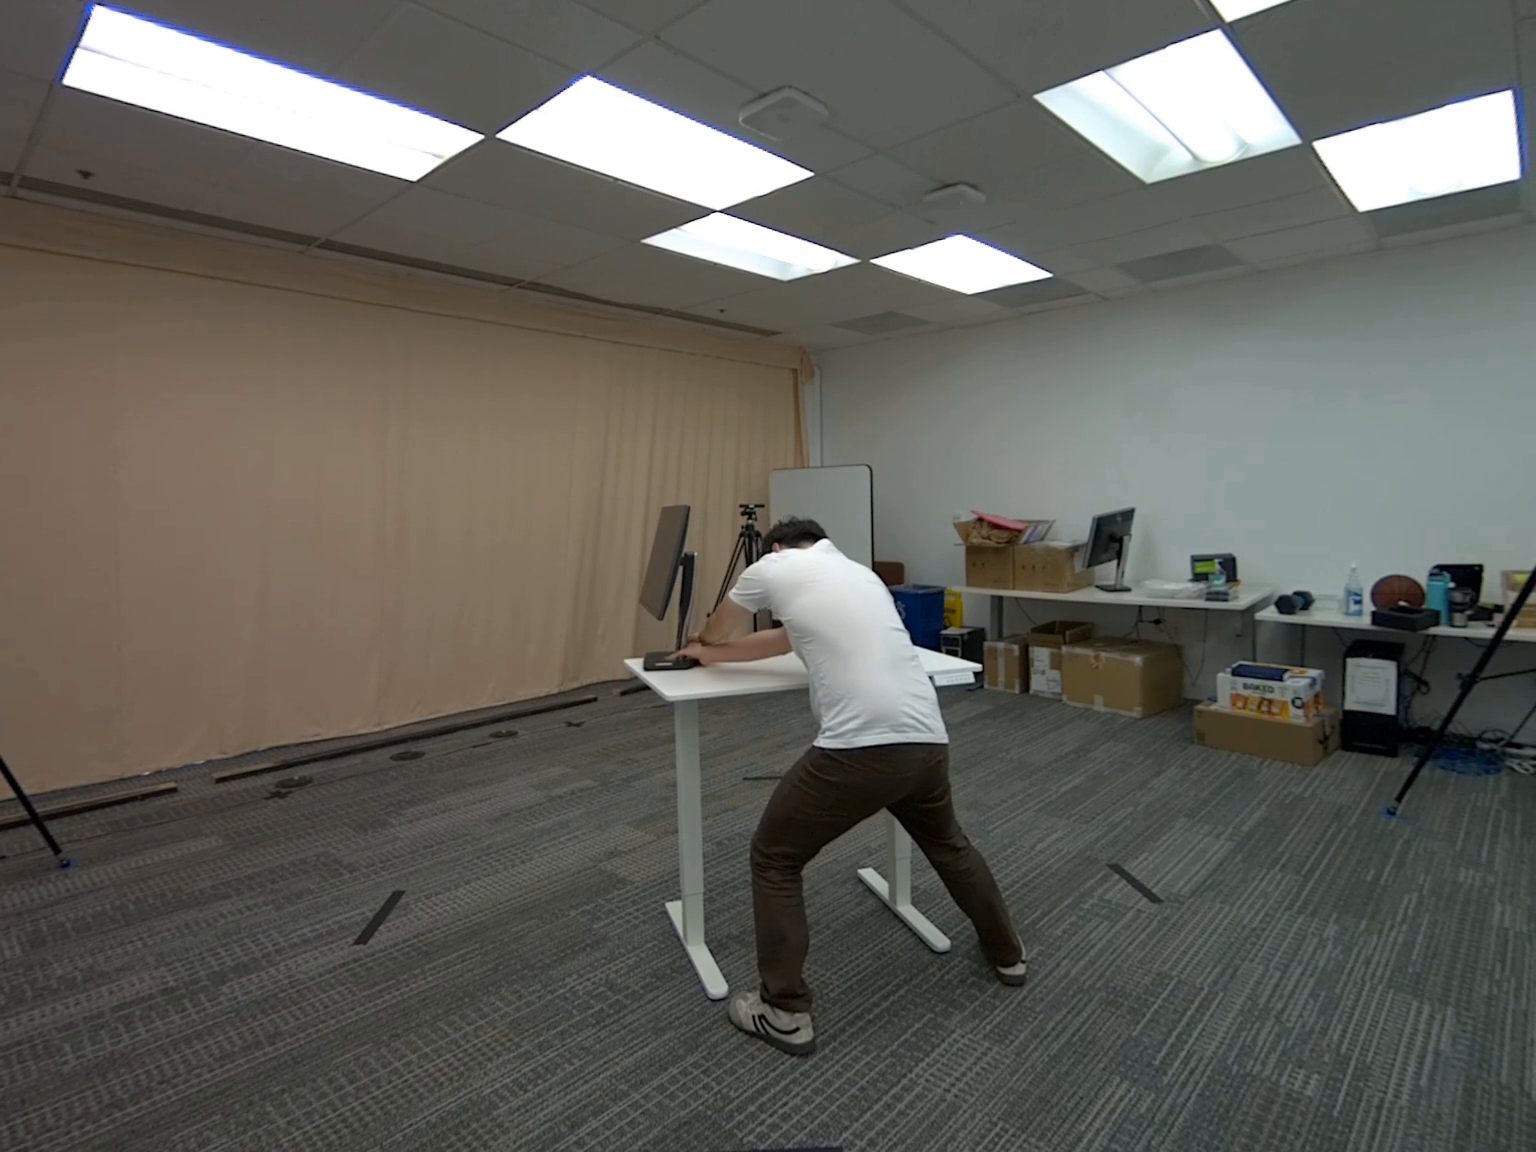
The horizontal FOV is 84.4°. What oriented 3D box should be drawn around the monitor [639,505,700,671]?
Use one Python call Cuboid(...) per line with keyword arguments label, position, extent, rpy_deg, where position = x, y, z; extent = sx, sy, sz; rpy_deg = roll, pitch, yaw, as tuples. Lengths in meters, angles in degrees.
Cuboid(label="monitor", position=(-0.316, 0.031, 2.755), extent=(0.184, 0.522, 0.549), rpy_deg=(-1, 3, -18))
